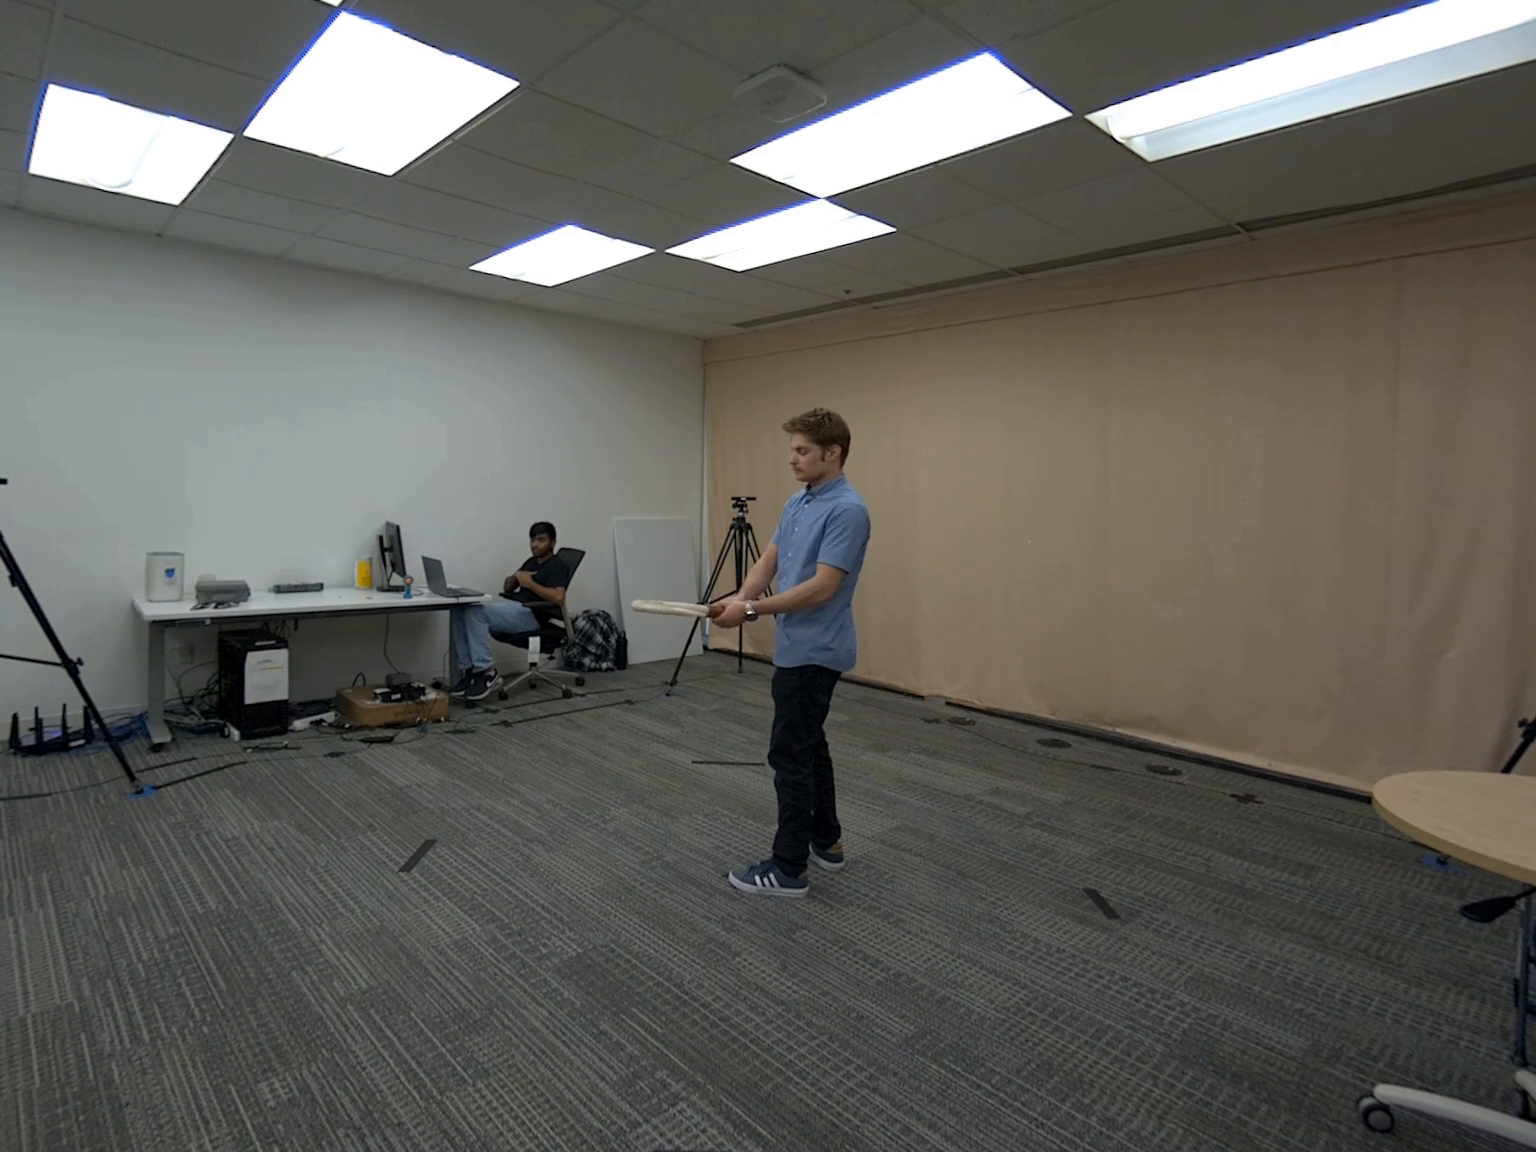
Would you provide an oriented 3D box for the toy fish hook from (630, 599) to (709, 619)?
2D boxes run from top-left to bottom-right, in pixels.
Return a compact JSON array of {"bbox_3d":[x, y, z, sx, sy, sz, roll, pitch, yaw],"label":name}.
[{"bbox_3d":[-0.200,0.124,2.791,0.493,0.048,0.231,6,5,-45],"label":"toy fish hook"}]
